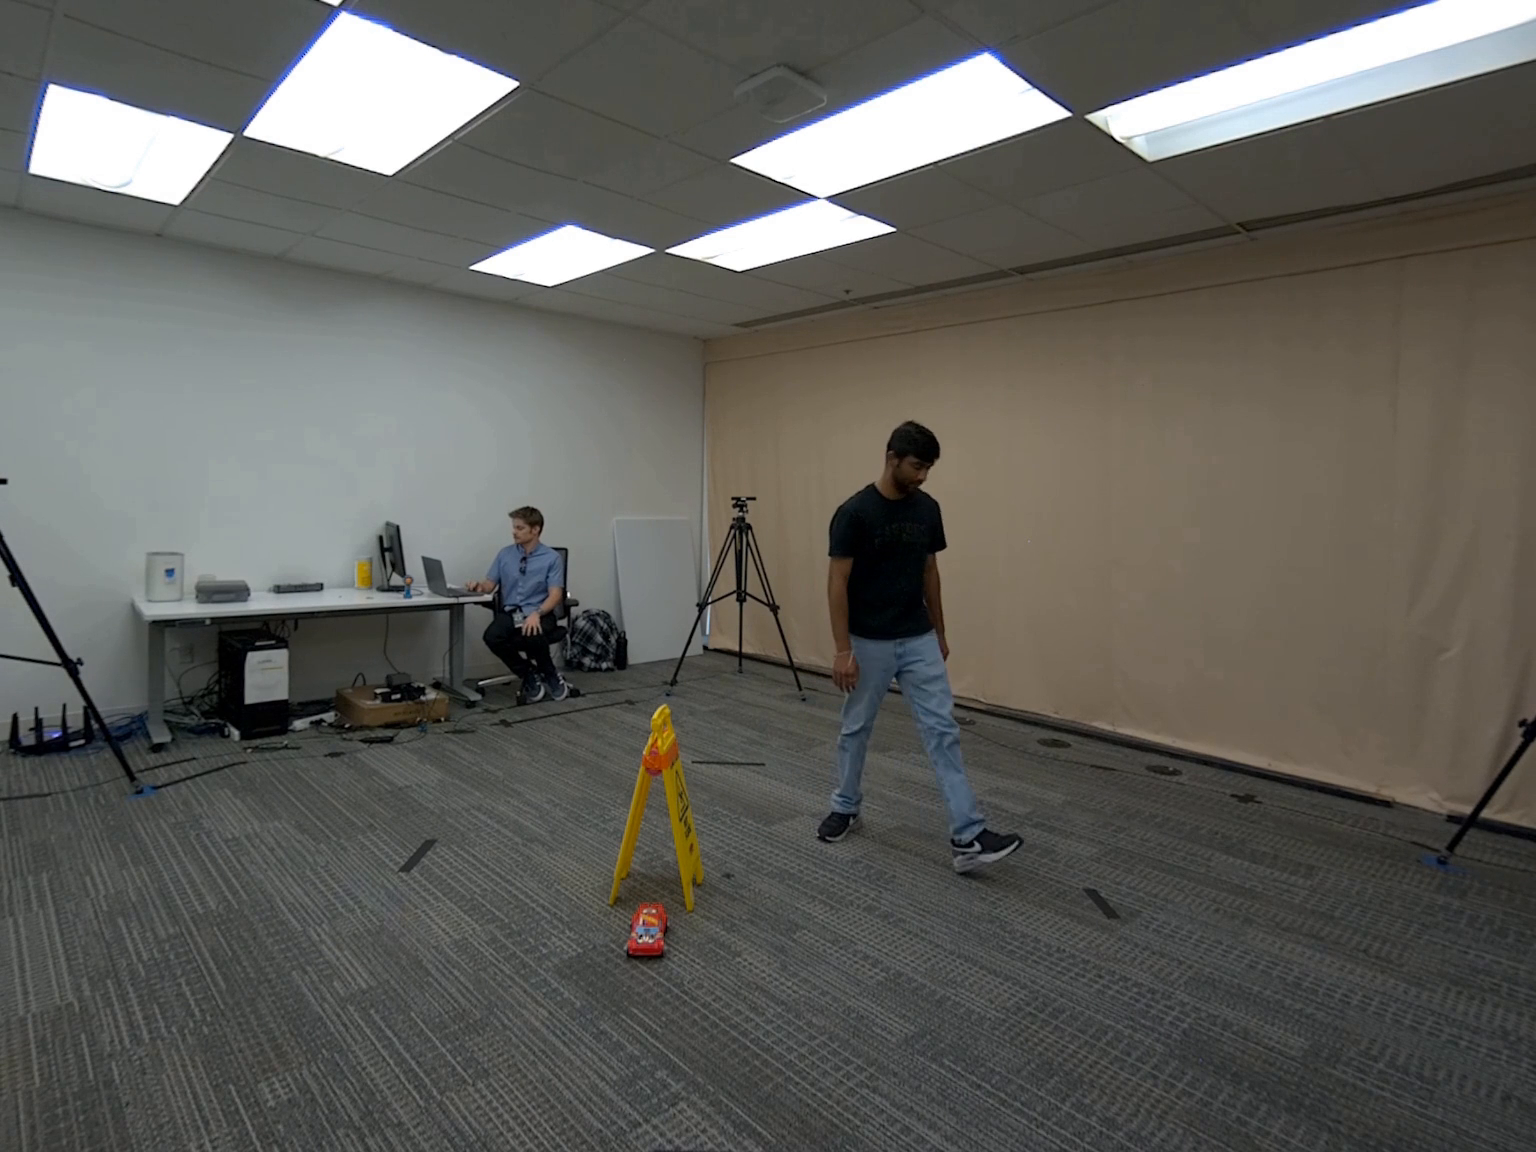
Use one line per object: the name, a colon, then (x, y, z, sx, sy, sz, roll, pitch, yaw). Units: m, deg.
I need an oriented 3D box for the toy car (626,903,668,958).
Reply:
toy car: (-0.383, 1.115, 2.632, 0.130, 0.082, 0.257, 1, 16, -1)
